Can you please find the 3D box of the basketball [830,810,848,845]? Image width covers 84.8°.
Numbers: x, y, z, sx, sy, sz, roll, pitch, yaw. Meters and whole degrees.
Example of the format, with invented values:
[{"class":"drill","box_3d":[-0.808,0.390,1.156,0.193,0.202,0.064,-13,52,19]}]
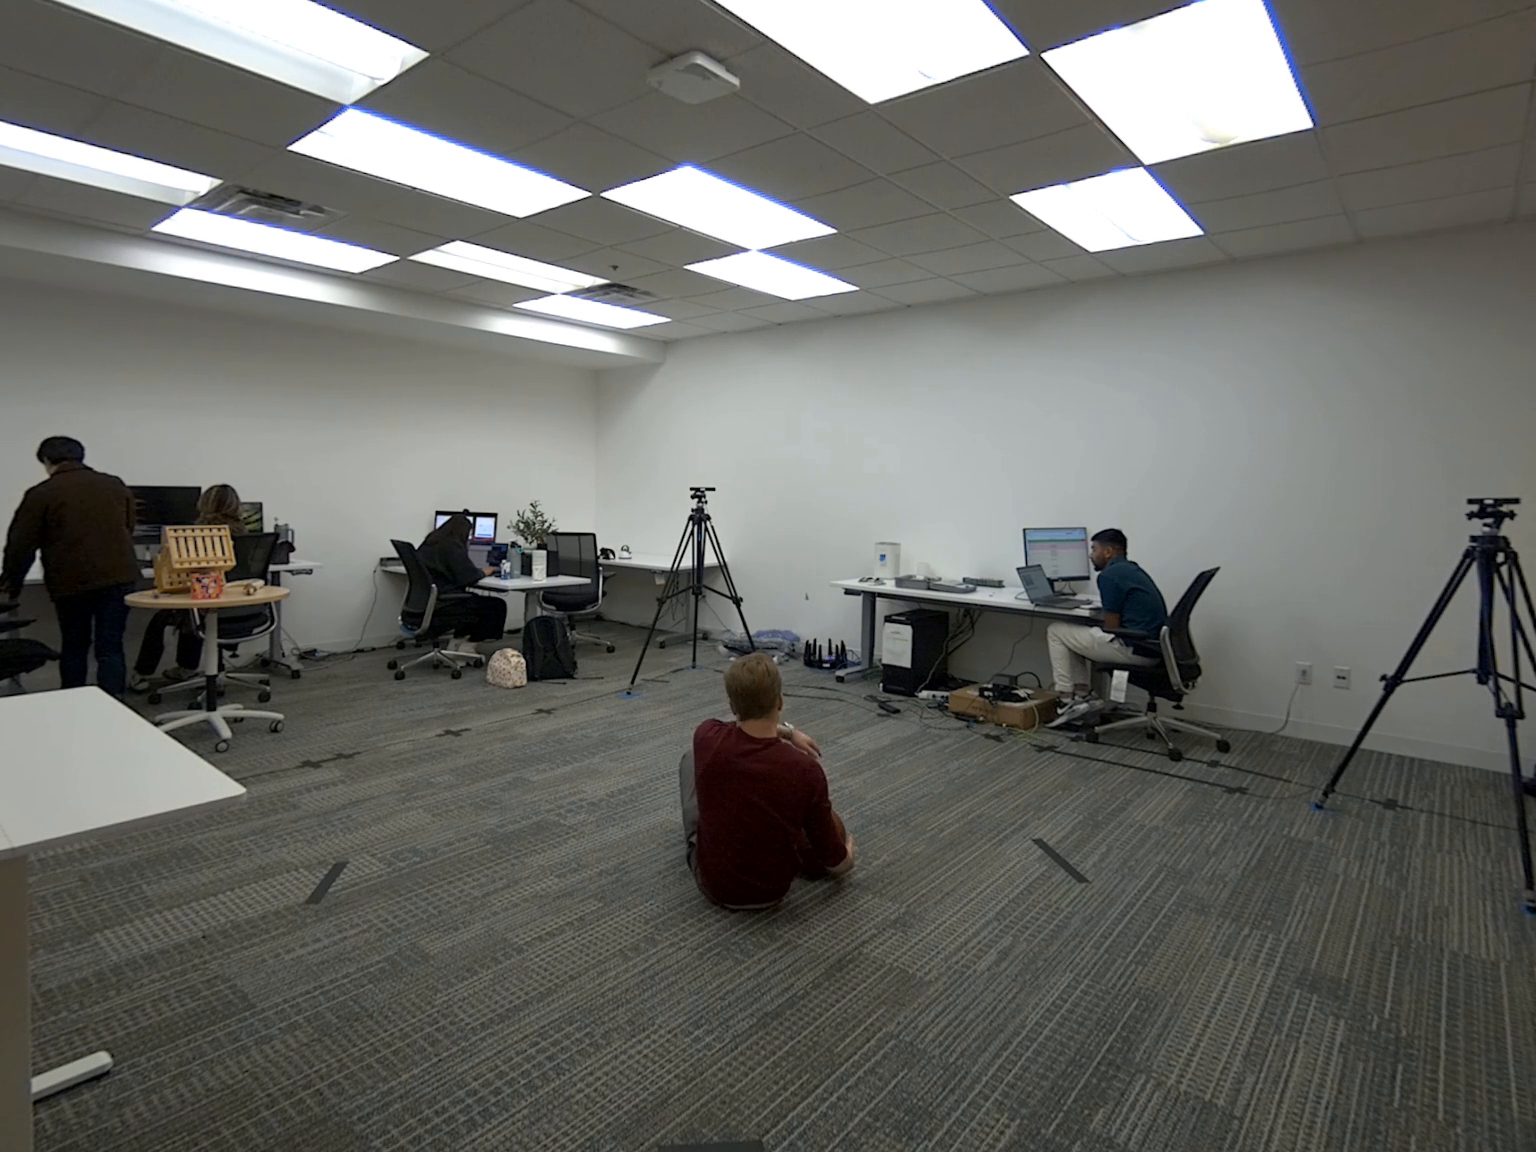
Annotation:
[{"class":"basketball","box_3d":[0.154,0.934,3.114,0.235,0.235,0.237,1,4,-2]}]
